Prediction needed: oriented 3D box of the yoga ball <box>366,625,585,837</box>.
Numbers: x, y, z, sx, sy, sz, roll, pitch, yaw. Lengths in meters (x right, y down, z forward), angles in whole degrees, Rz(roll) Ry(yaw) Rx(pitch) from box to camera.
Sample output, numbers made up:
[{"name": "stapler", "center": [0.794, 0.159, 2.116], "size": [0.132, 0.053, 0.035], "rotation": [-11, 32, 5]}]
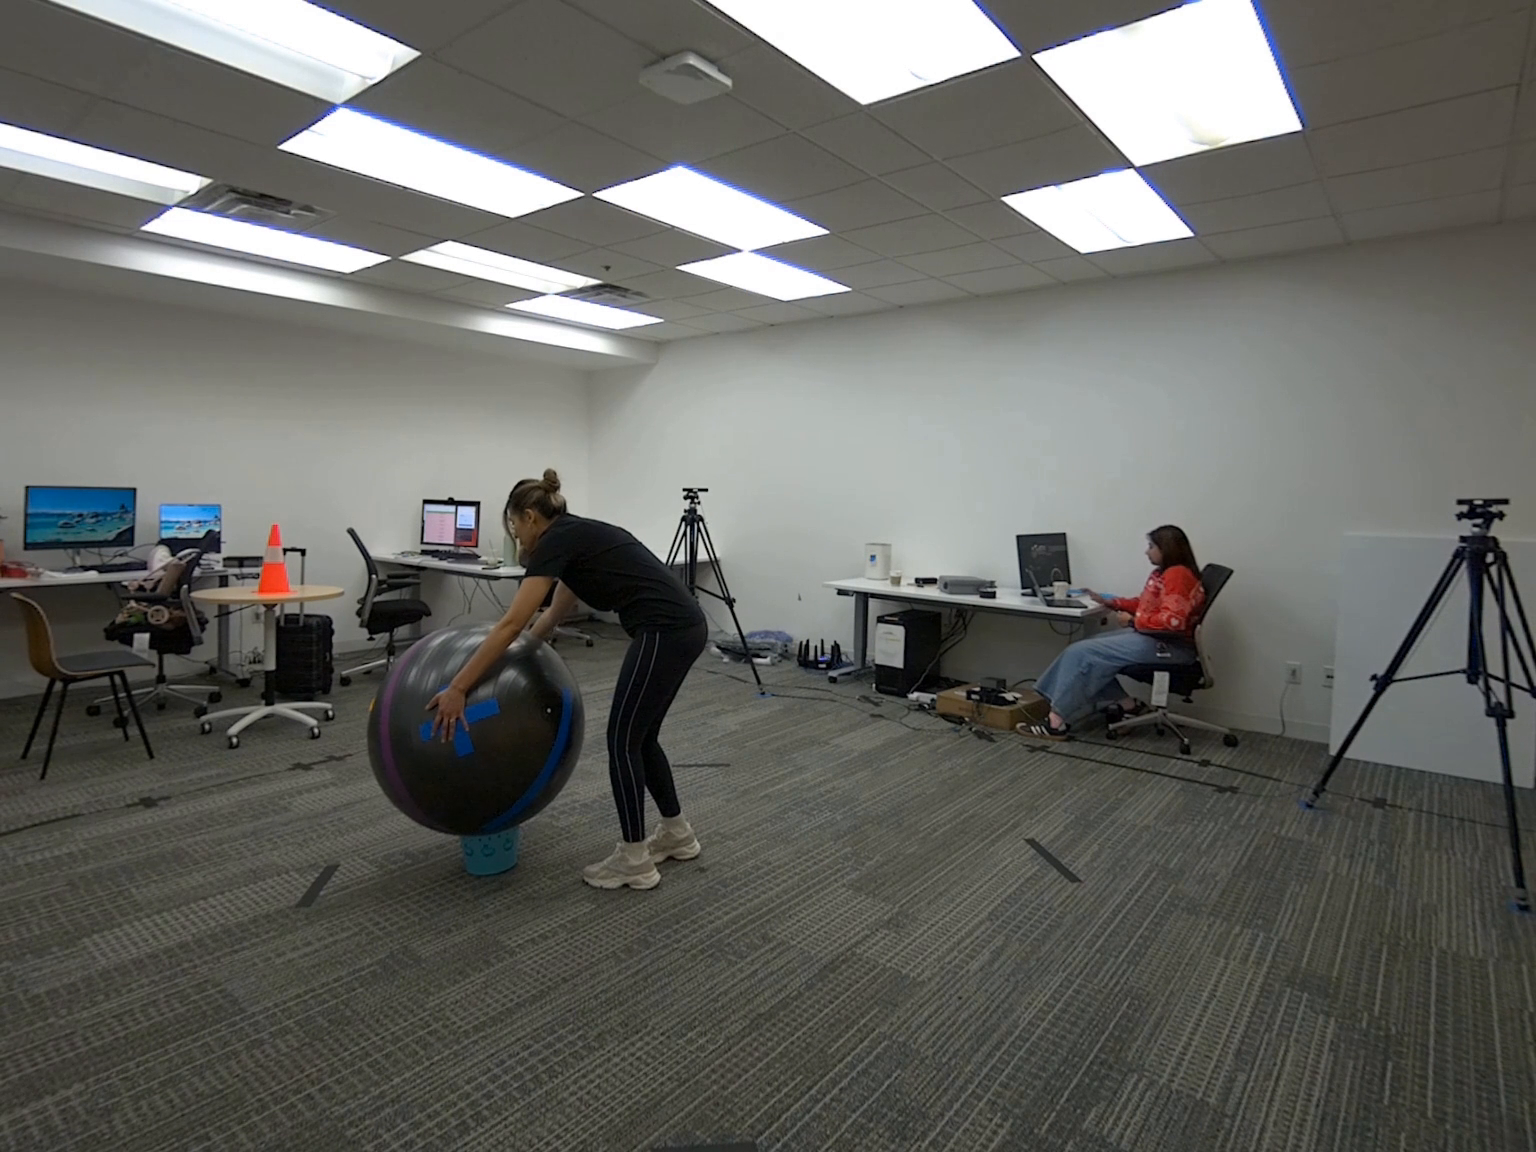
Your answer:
[{"name": "yoga ball", "center": [-1.056, 0.548, 3.076], "size": [0.757, 0.756, 0.762], "rotation": [1, 4, -2]}]
